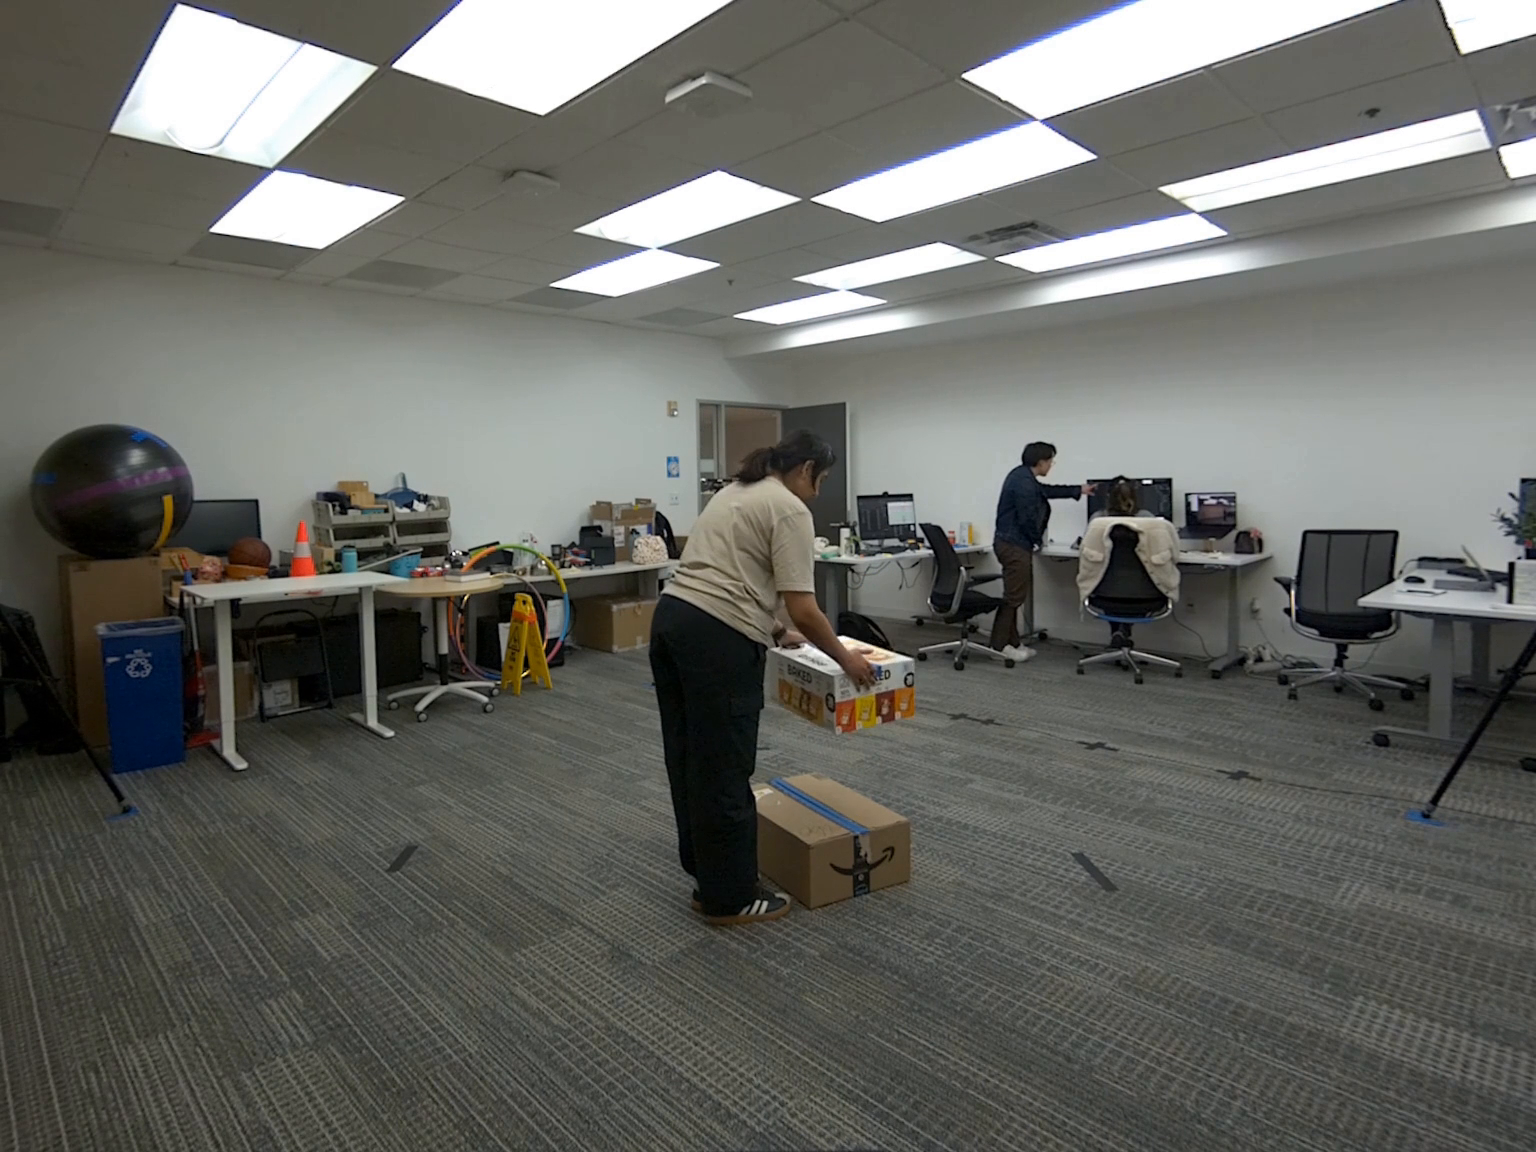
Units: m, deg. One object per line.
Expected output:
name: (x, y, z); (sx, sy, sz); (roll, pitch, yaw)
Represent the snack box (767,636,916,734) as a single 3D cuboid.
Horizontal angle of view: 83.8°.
snack box: (0.254, 0.377, 3.040); (0.333, 0.204, 0.417); (-7, 11, -30)
